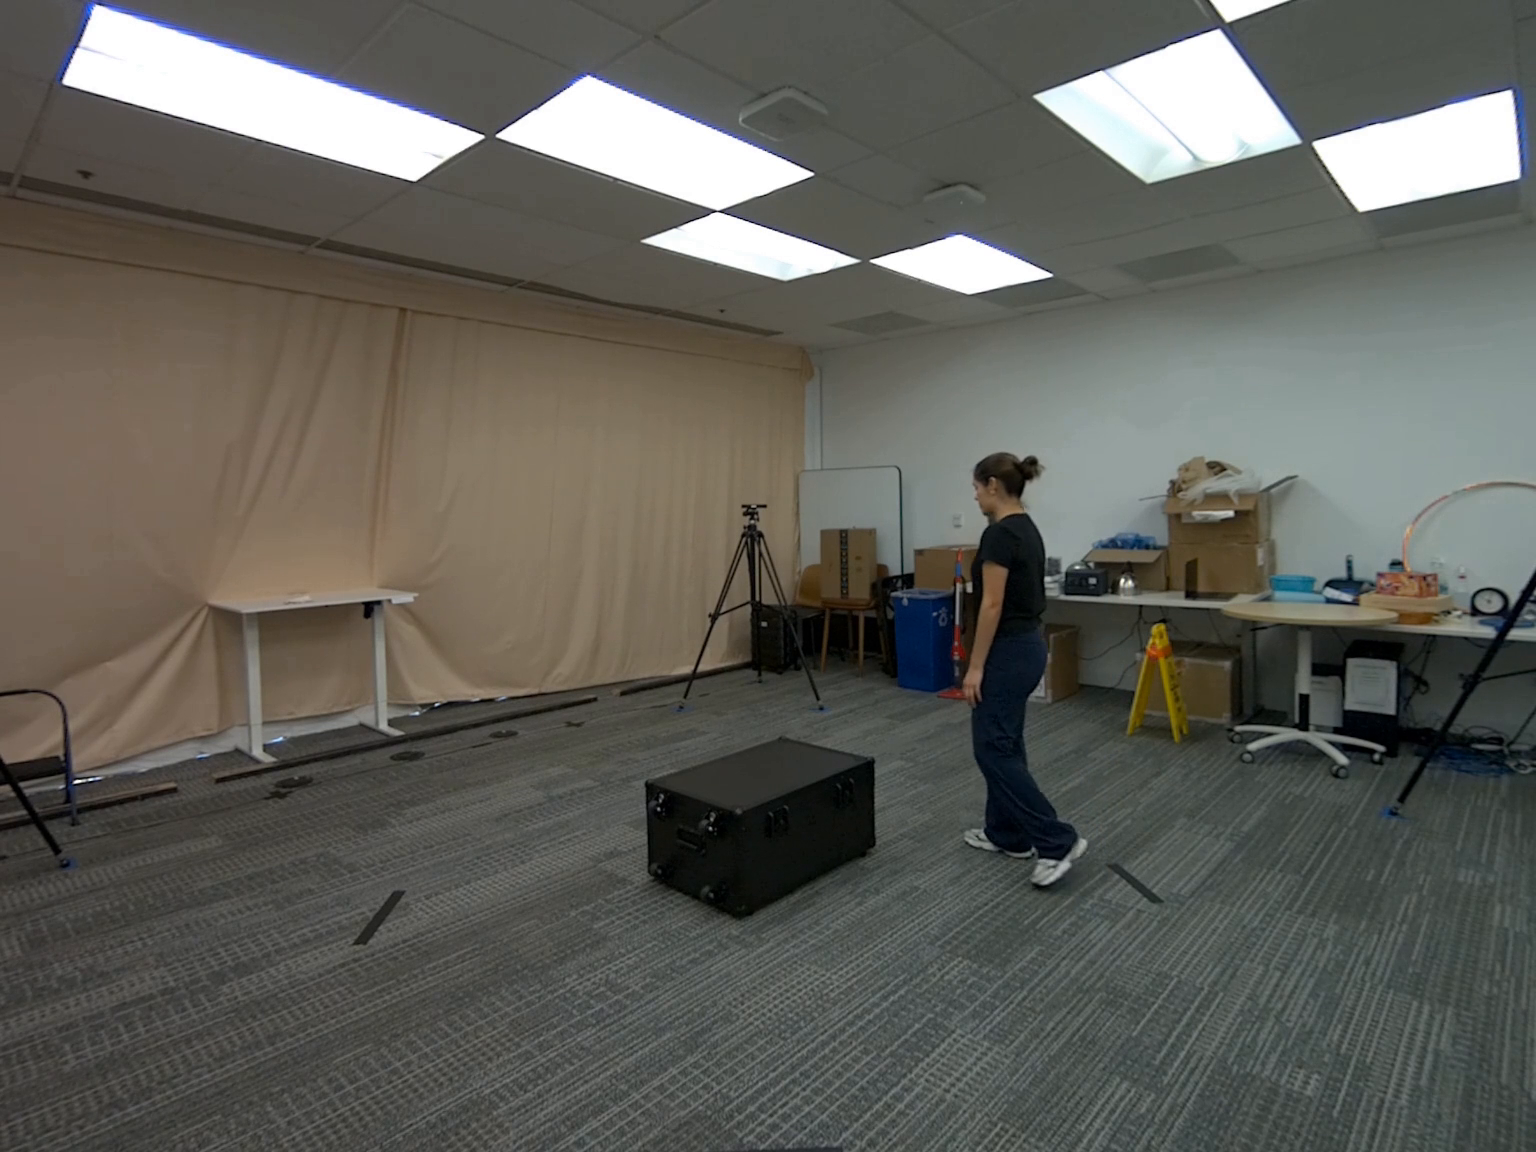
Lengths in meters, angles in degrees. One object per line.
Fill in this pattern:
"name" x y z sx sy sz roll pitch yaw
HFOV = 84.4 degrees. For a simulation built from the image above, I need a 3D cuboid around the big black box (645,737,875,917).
"big black box" -0.021 0.931 3.219 0.538 0.395 0.835 2 5 42
